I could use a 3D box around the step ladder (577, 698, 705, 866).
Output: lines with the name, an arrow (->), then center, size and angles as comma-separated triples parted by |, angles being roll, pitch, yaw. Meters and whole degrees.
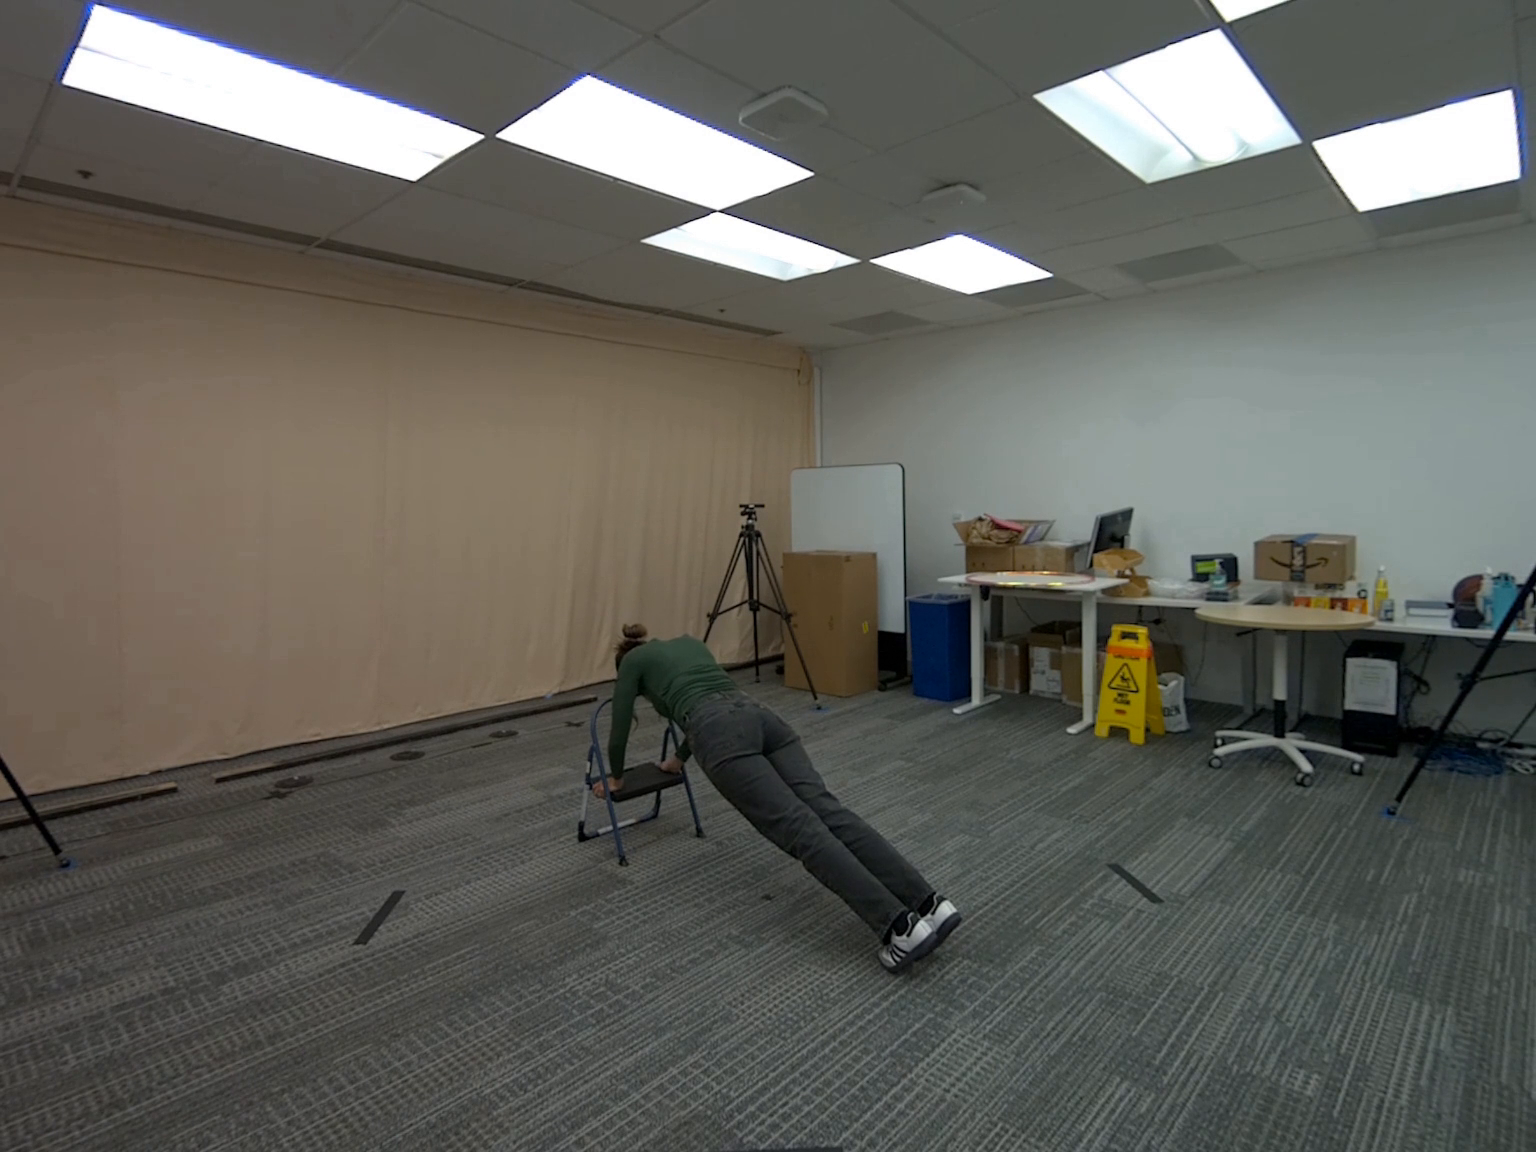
step ladder -> -0.539, 0.805, 3.525 | 0.417, 0.605, 0.361 | -4, 4, -43
